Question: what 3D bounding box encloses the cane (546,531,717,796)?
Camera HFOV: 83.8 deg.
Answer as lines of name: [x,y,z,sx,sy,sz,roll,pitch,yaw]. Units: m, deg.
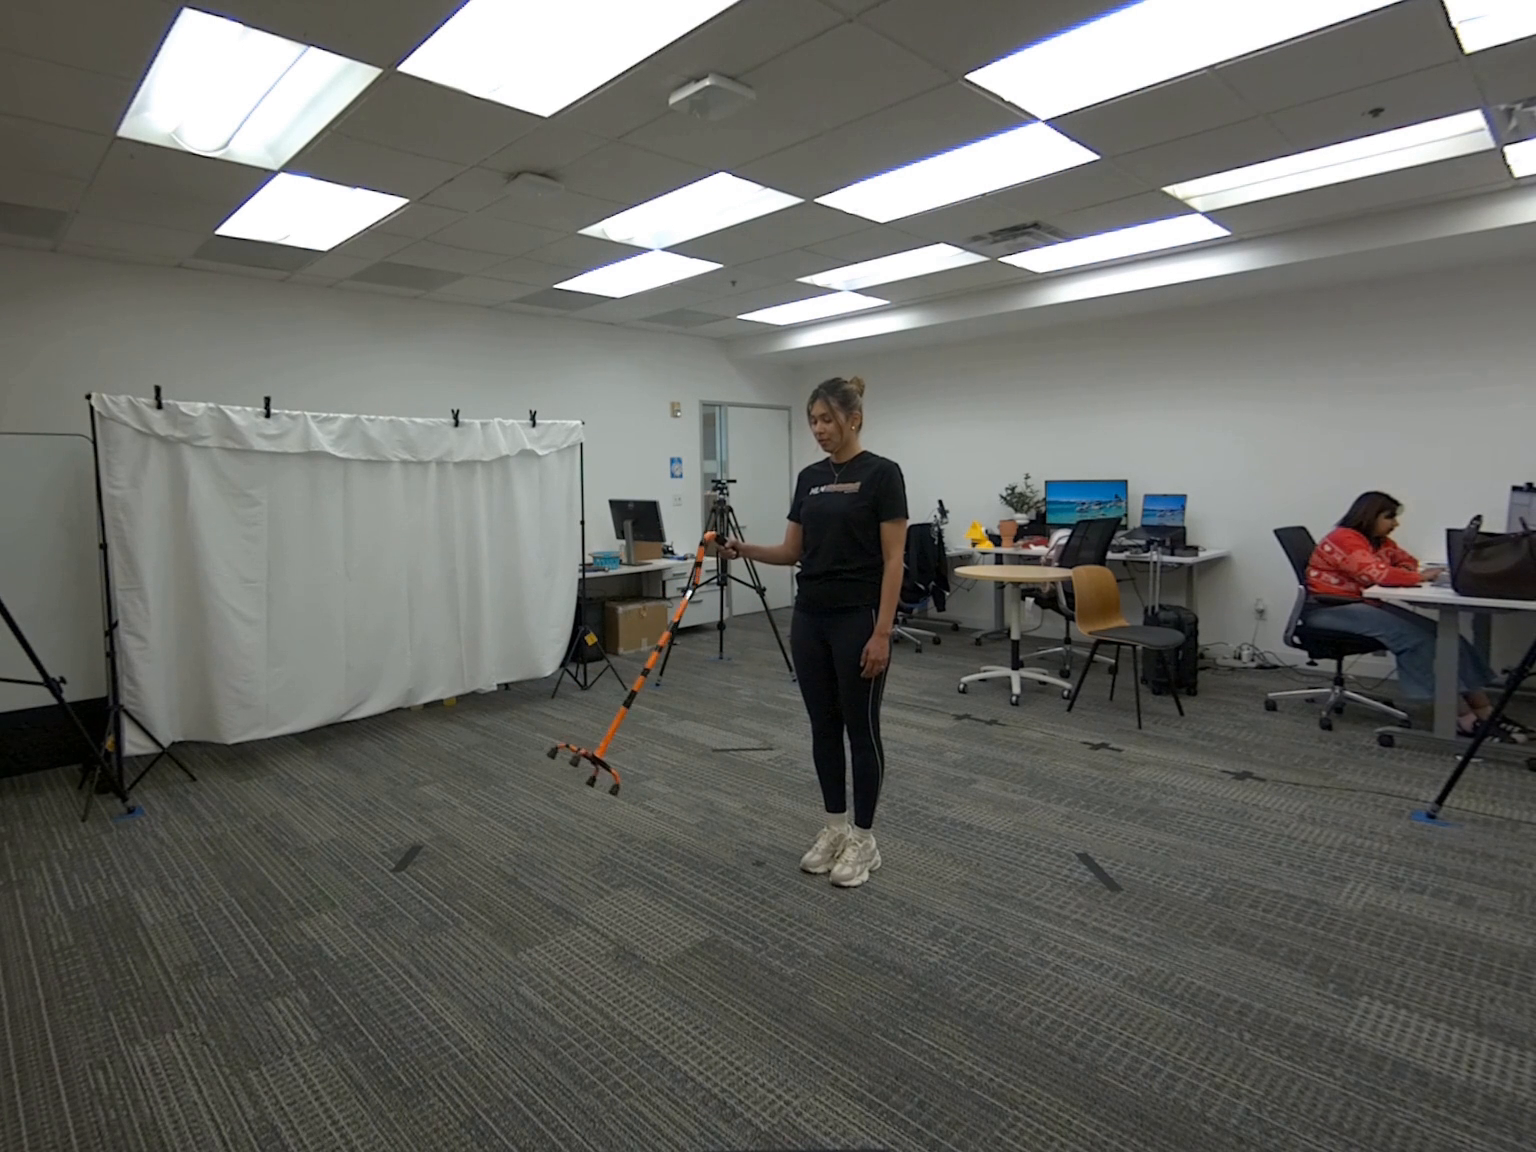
cane: [-0.359,0.241,2.725,0.156,0.915,0.199,-1,-37,45]
